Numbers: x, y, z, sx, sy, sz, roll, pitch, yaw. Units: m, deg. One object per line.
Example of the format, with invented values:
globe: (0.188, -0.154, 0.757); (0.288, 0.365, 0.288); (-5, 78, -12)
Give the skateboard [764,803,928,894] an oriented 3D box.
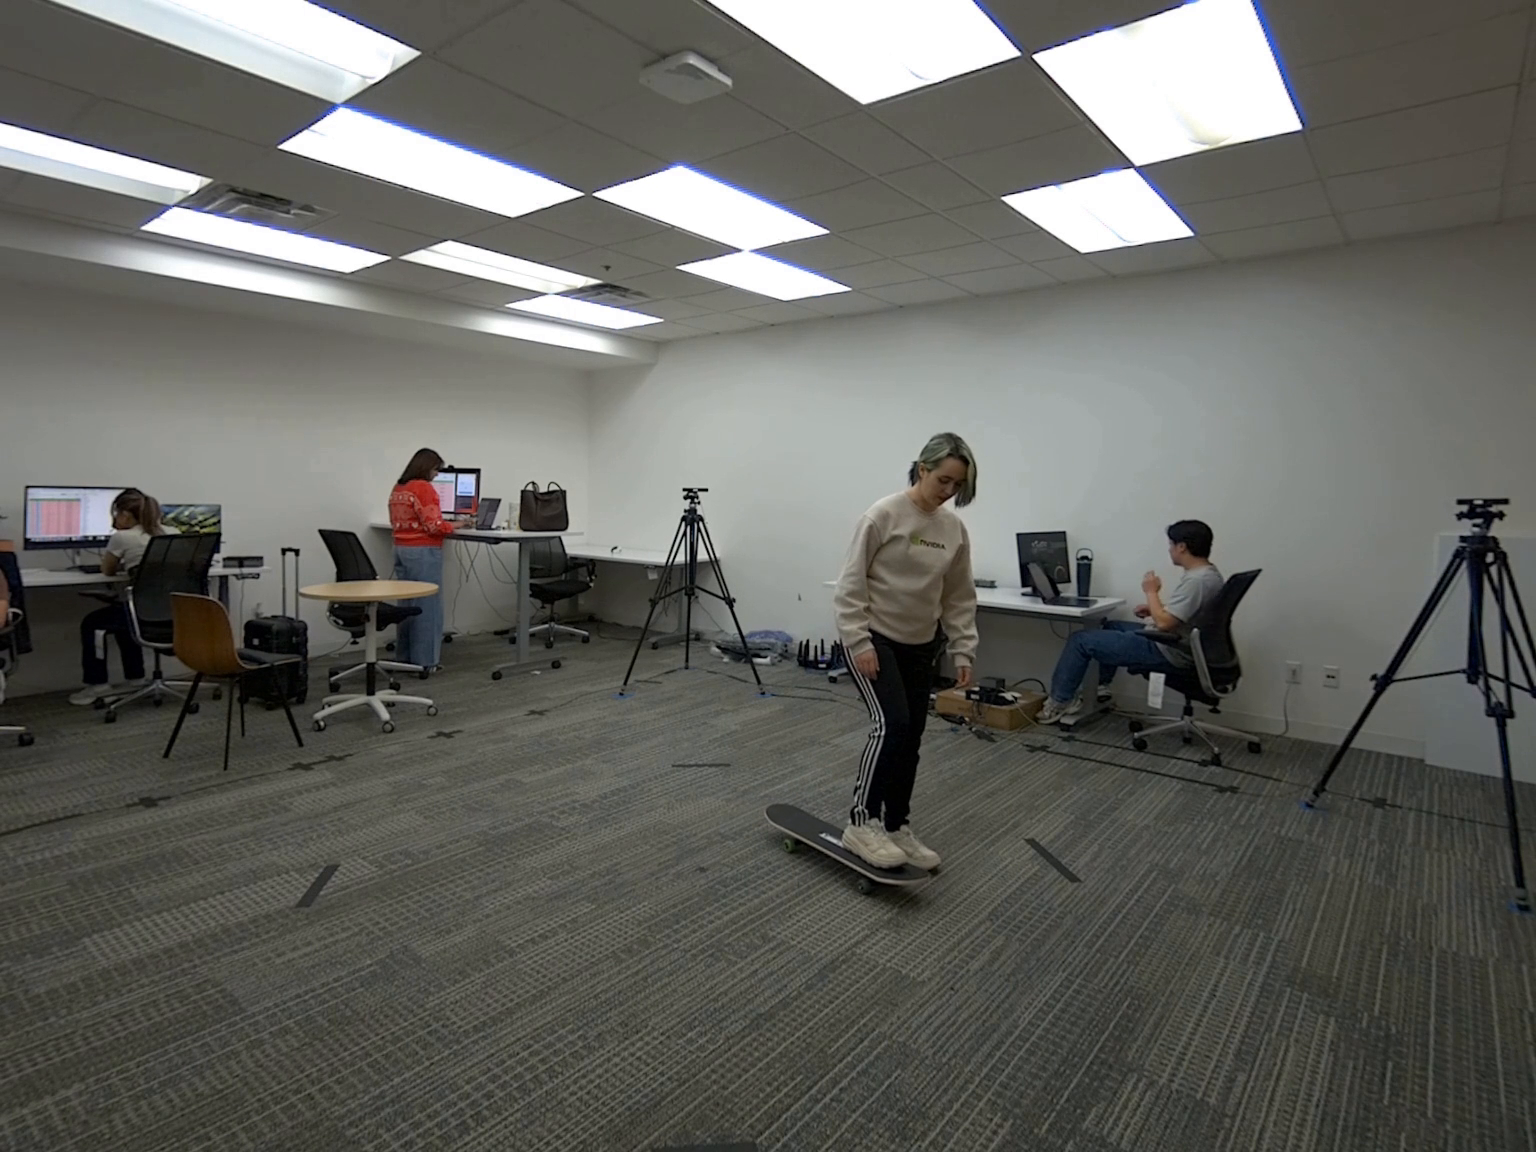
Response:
skateboard: (0.260, 1.025, 3.163); (0.188, 0.110, 0.812); (-1, 6, -37)
